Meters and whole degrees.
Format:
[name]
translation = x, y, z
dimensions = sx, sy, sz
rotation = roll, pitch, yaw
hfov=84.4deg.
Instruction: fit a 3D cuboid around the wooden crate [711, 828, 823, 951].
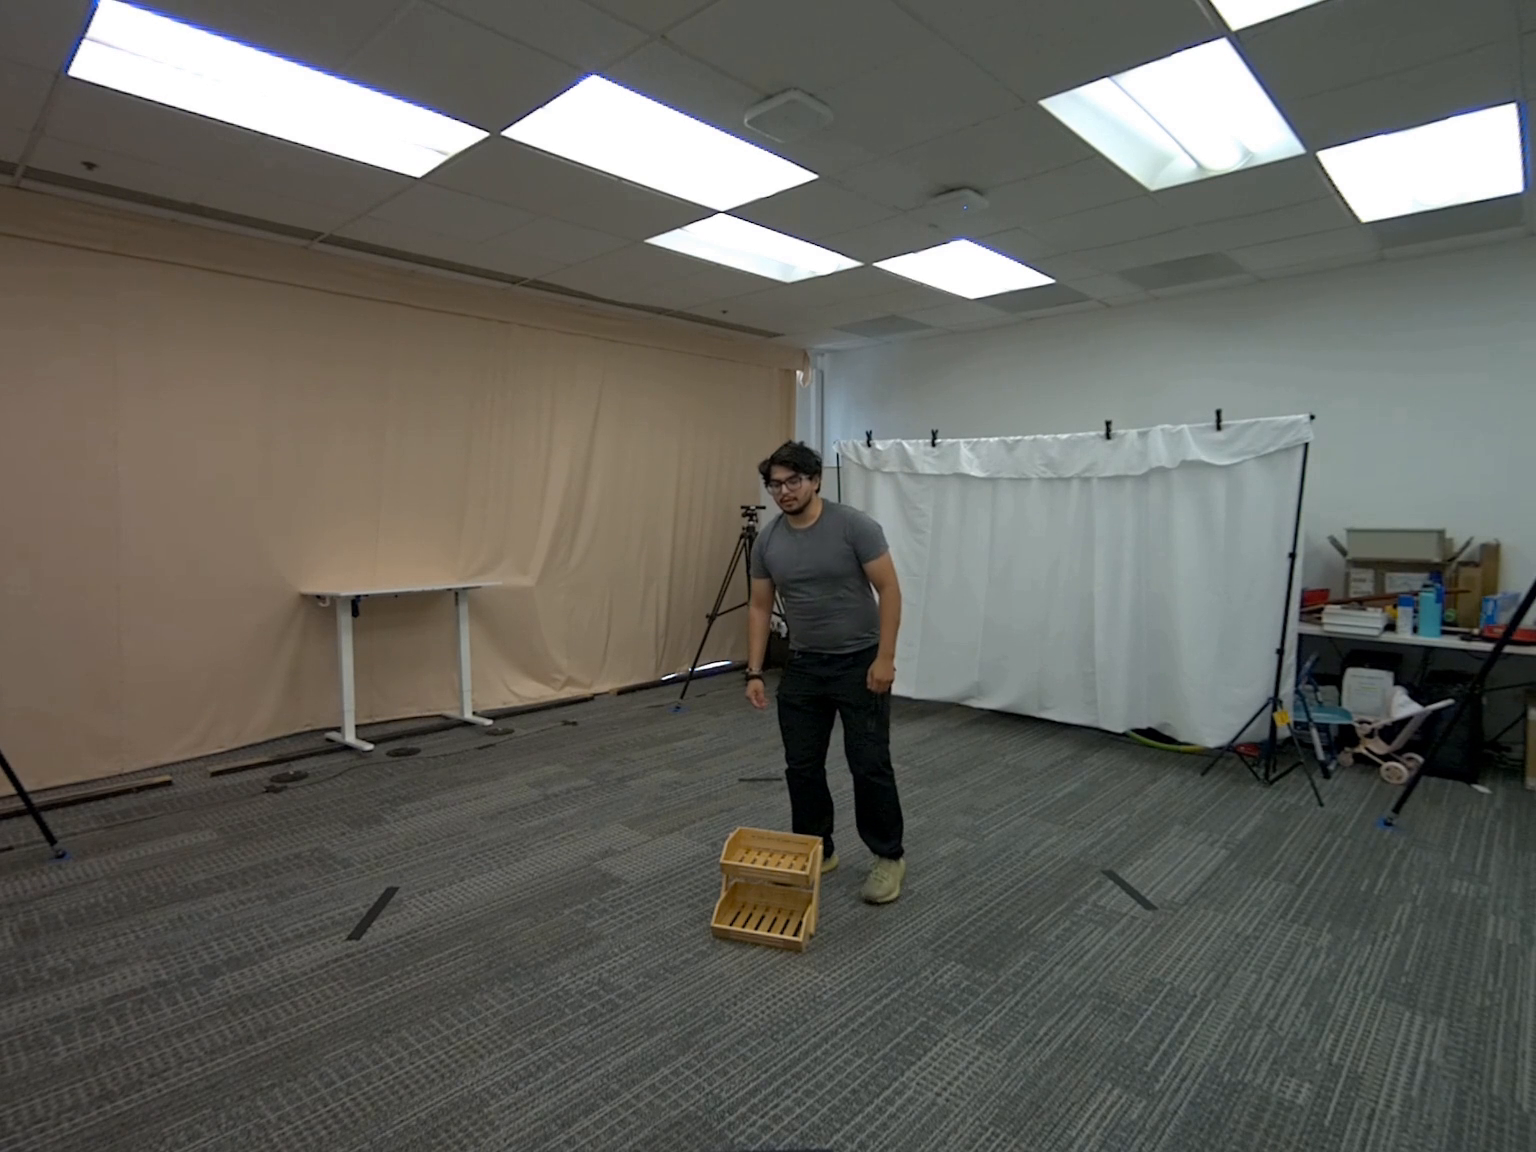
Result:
[wooden crate]
translation = 0.002, 1.031, 2.778
dimensions = 0.330, 0.272, 0.297
rotation = 2, 5, 17
